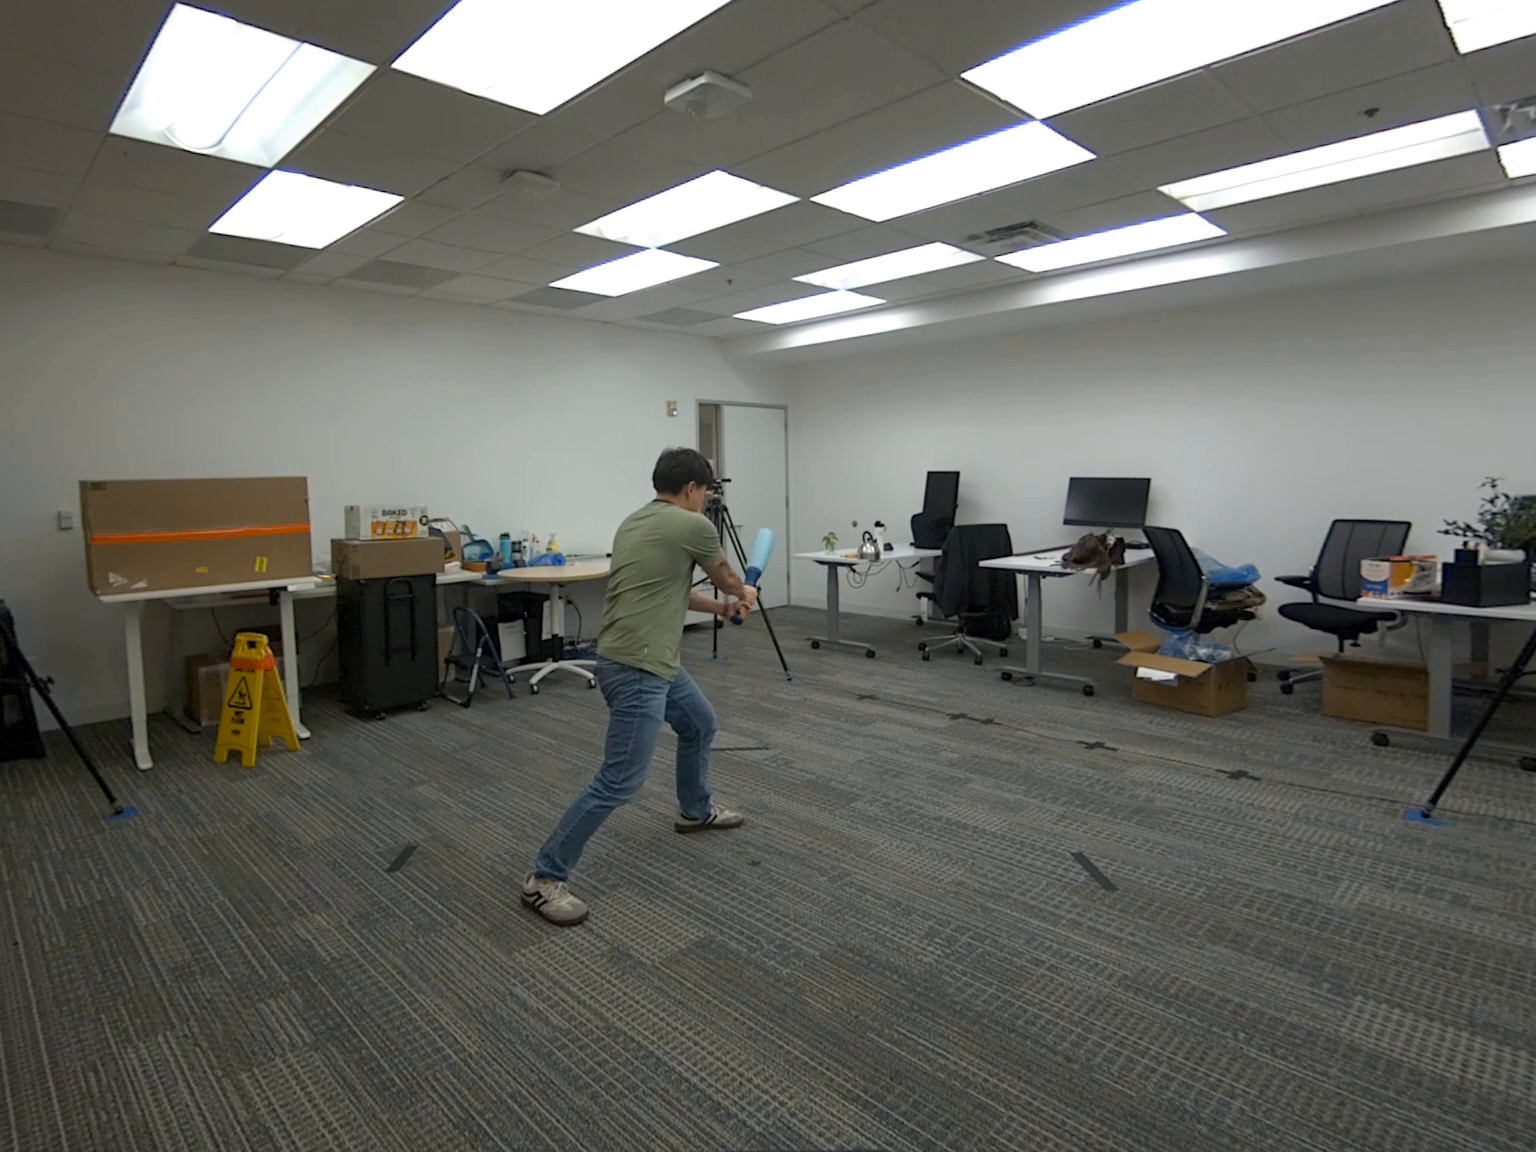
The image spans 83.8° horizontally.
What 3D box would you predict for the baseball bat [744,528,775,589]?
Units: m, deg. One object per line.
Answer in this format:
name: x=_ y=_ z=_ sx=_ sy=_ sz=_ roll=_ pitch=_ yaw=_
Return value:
baseball bat: x=-0.064 y=0.002 z=3.606 sx=0.090 sy=0.086 sz=0.551 roll=0 pitch=42 yaw=18
